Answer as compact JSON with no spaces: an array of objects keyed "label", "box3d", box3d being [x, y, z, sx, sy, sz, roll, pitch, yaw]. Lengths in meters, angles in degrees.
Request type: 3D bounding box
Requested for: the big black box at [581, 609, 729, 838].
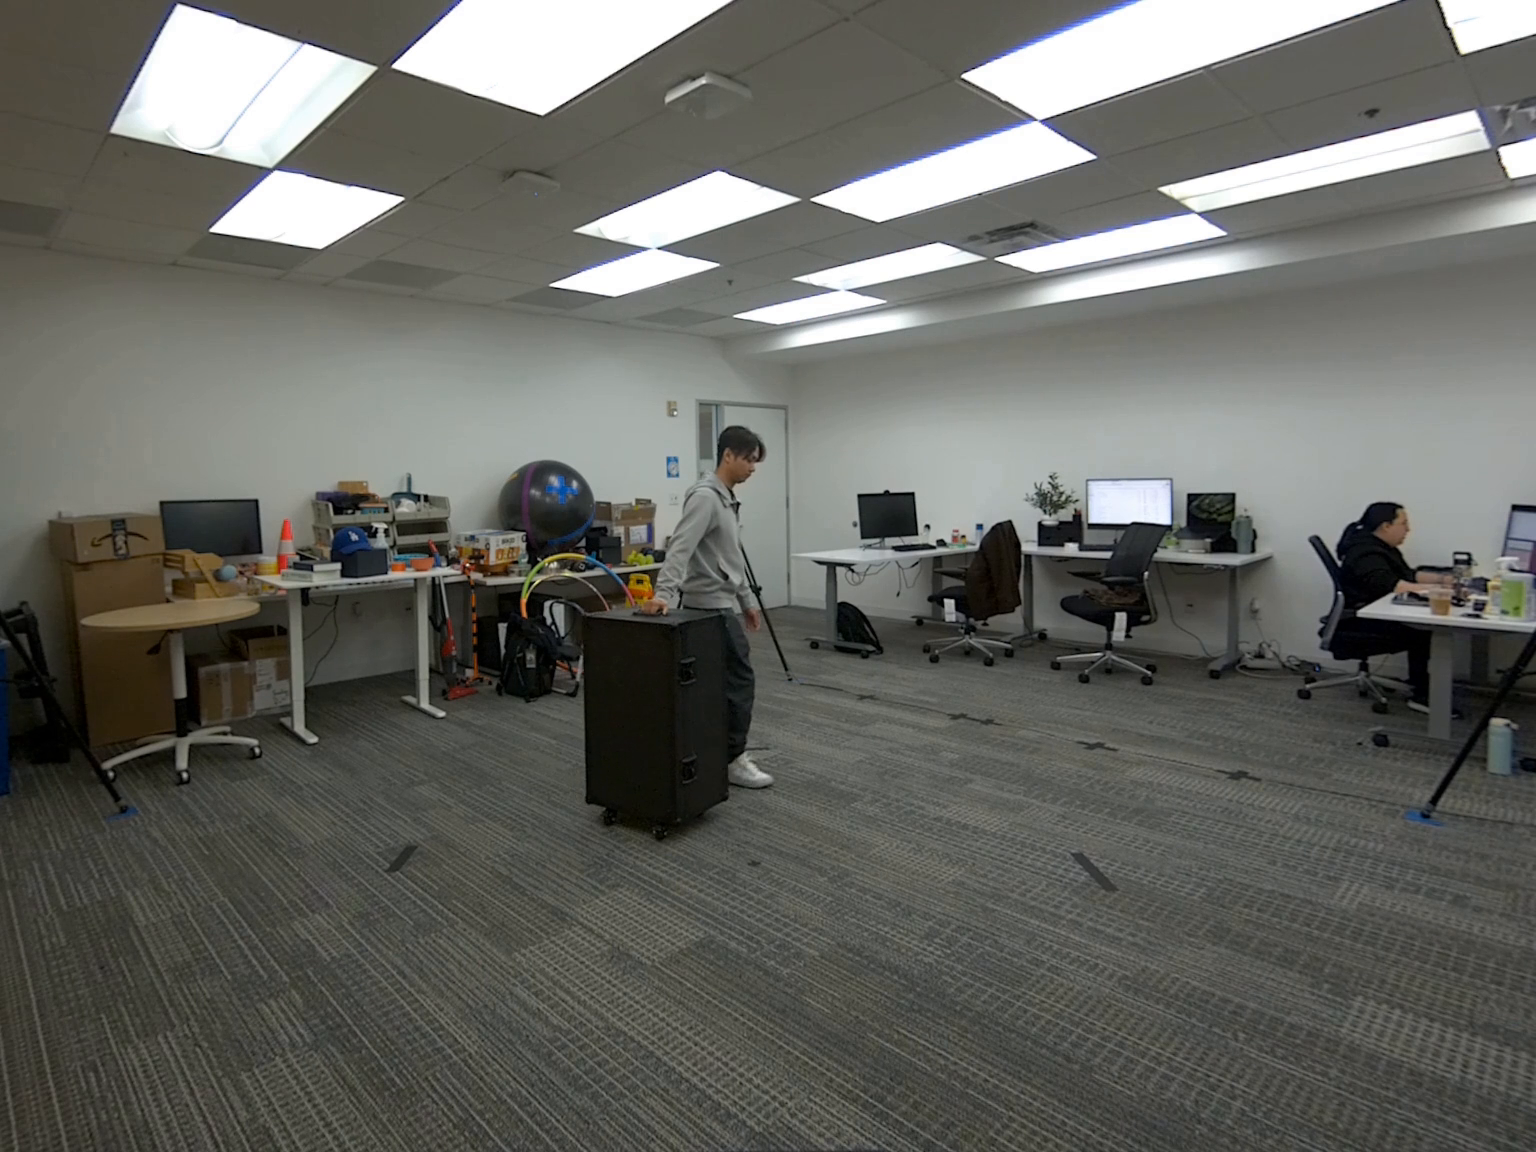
[{"label":"big black box","box3d":[-0.464,0.580,3.536,0.536,0.860,0.386,1,2,34]}]
